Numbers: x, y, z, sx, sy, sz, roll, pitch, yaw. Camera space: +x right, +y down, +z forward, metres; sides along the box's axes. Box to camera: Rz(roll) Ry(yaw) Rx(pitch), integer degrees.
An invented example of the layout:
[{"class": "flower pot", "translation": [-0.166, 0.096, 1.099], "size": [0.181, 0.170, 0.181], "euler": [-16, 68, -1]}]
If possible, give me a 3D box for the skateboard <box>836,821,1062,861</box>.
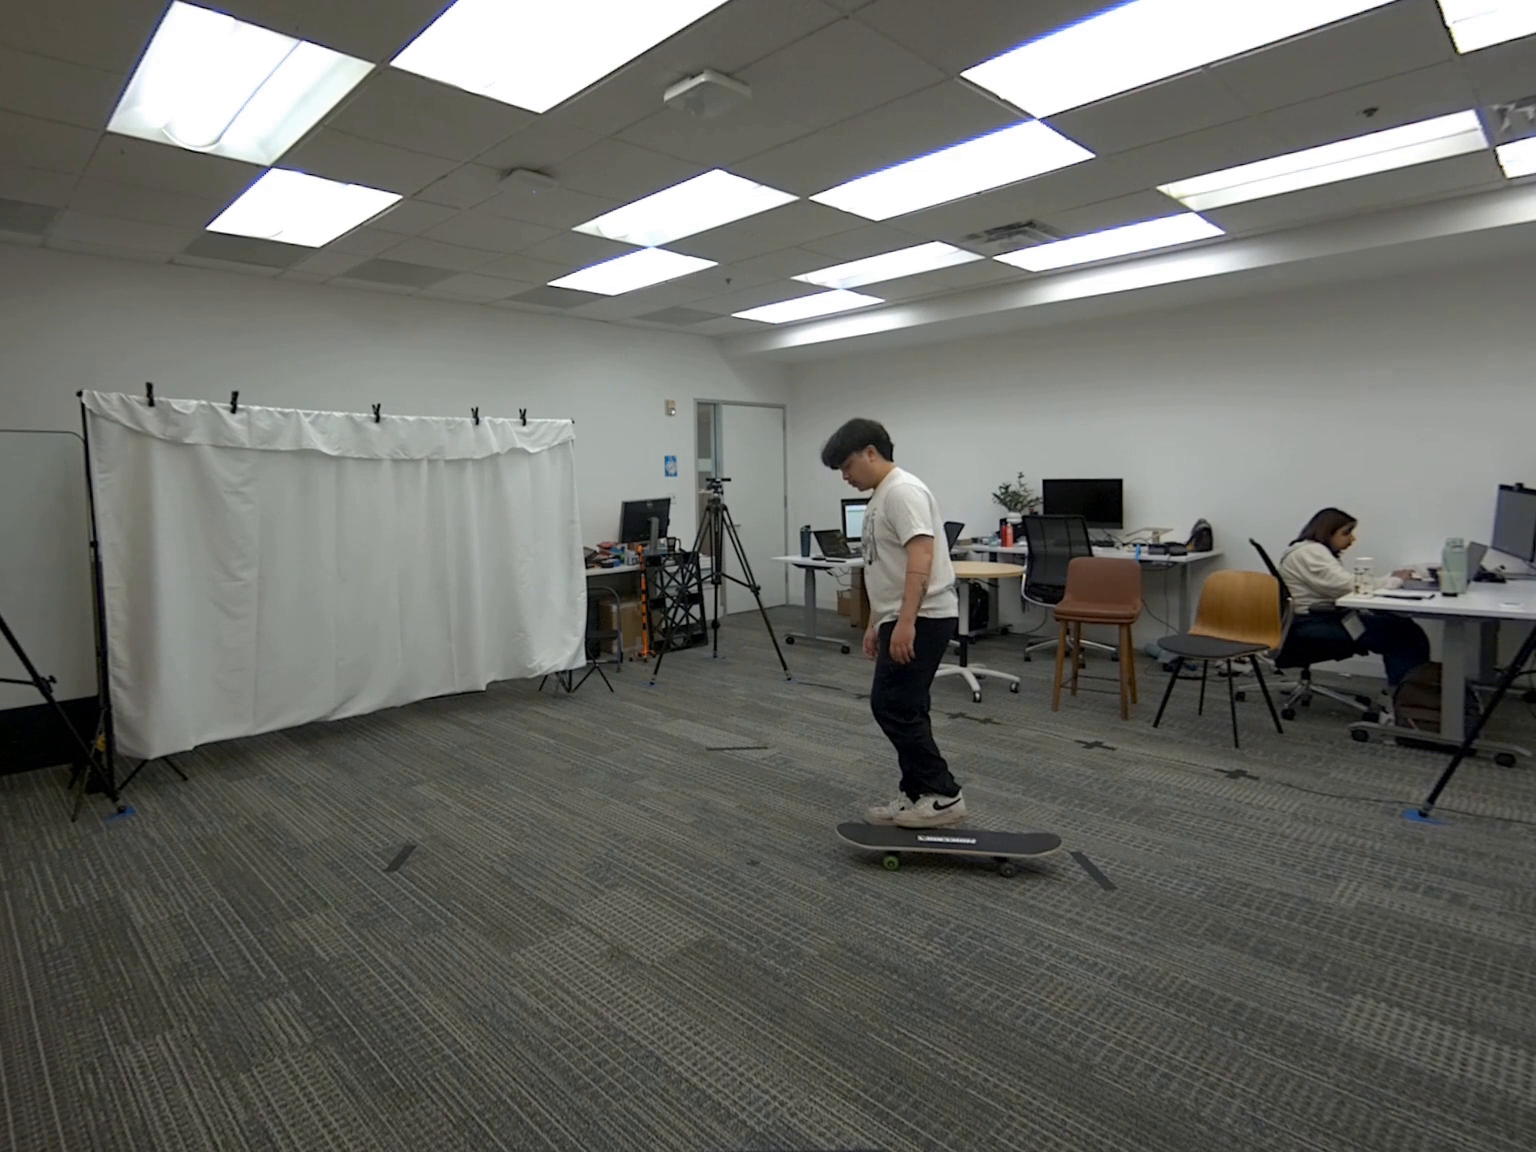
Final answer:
[{"class": "skateboard", "translation": [0.636, 0.975, 3.074], "size": [0.793, 0.110, 0.192], "euler": [0, 5, 10]}]
